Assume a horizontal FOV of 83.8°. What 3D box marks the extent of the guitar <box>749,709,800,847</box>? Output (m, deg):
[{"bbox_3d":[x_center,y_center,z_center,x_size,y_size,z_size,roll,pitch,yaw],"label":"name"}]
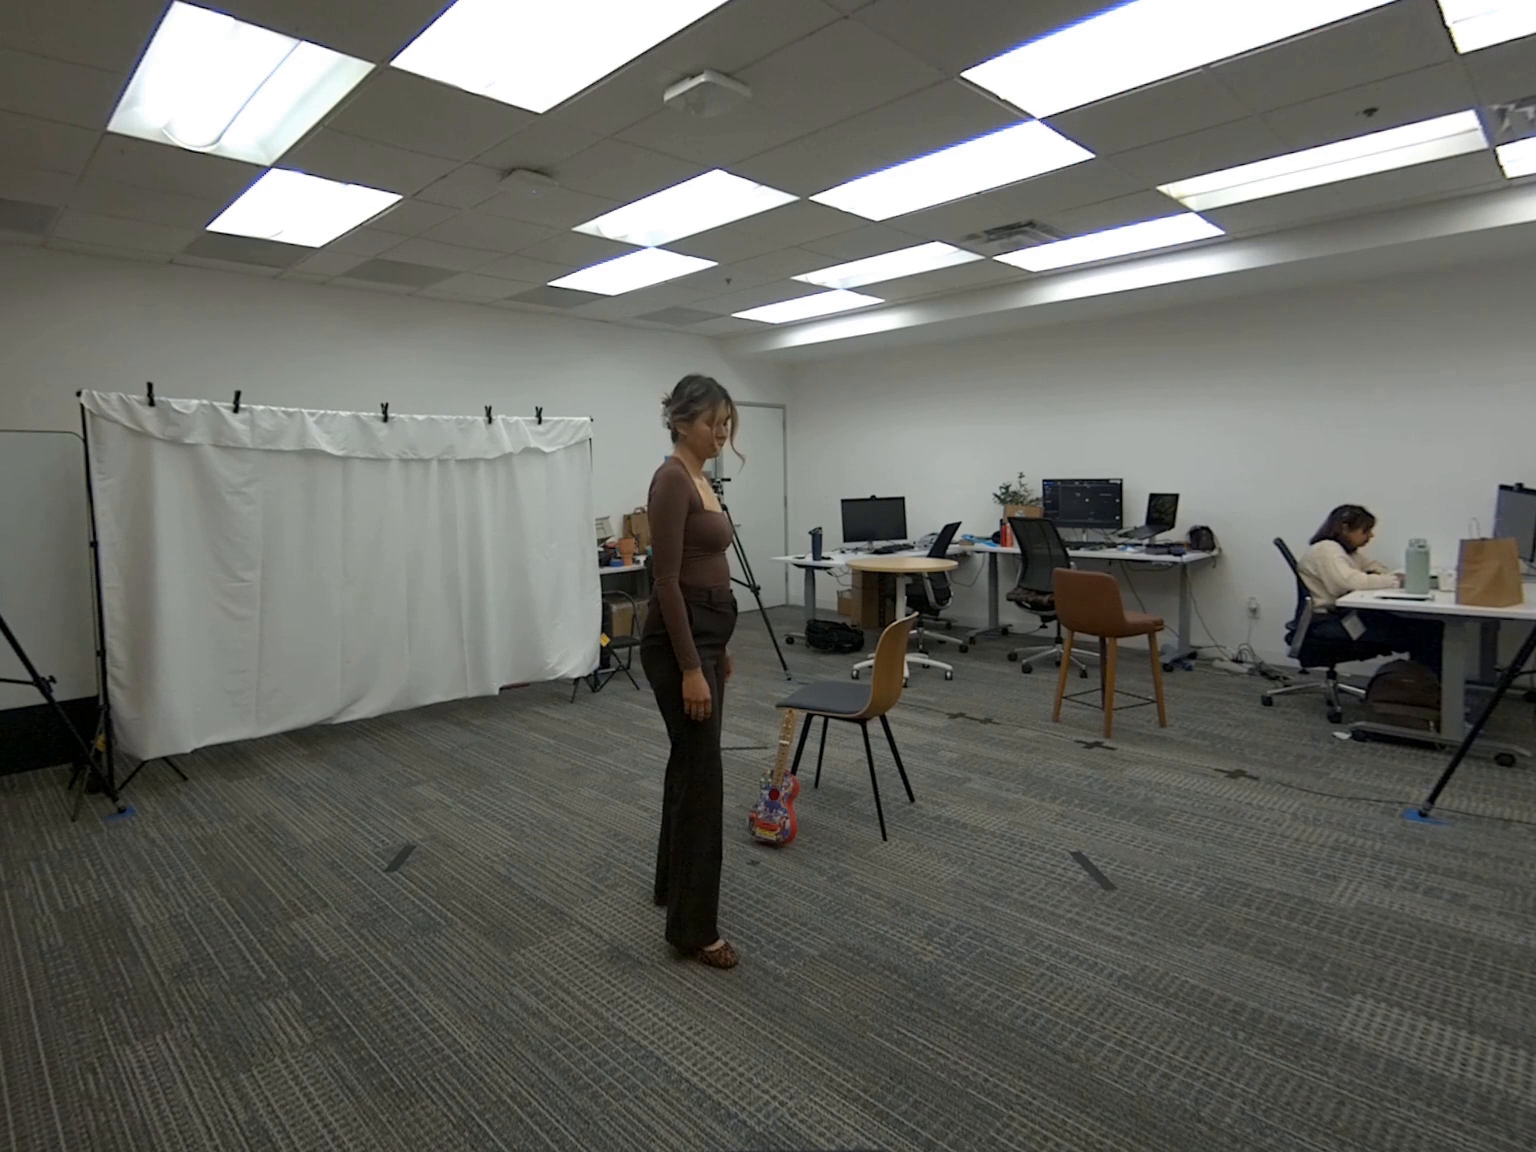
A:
[{"bbox_3d":[0.071,0.788,3.310,0.199,0.501,0.068,10,-17,32],"label":"guitar"}]
